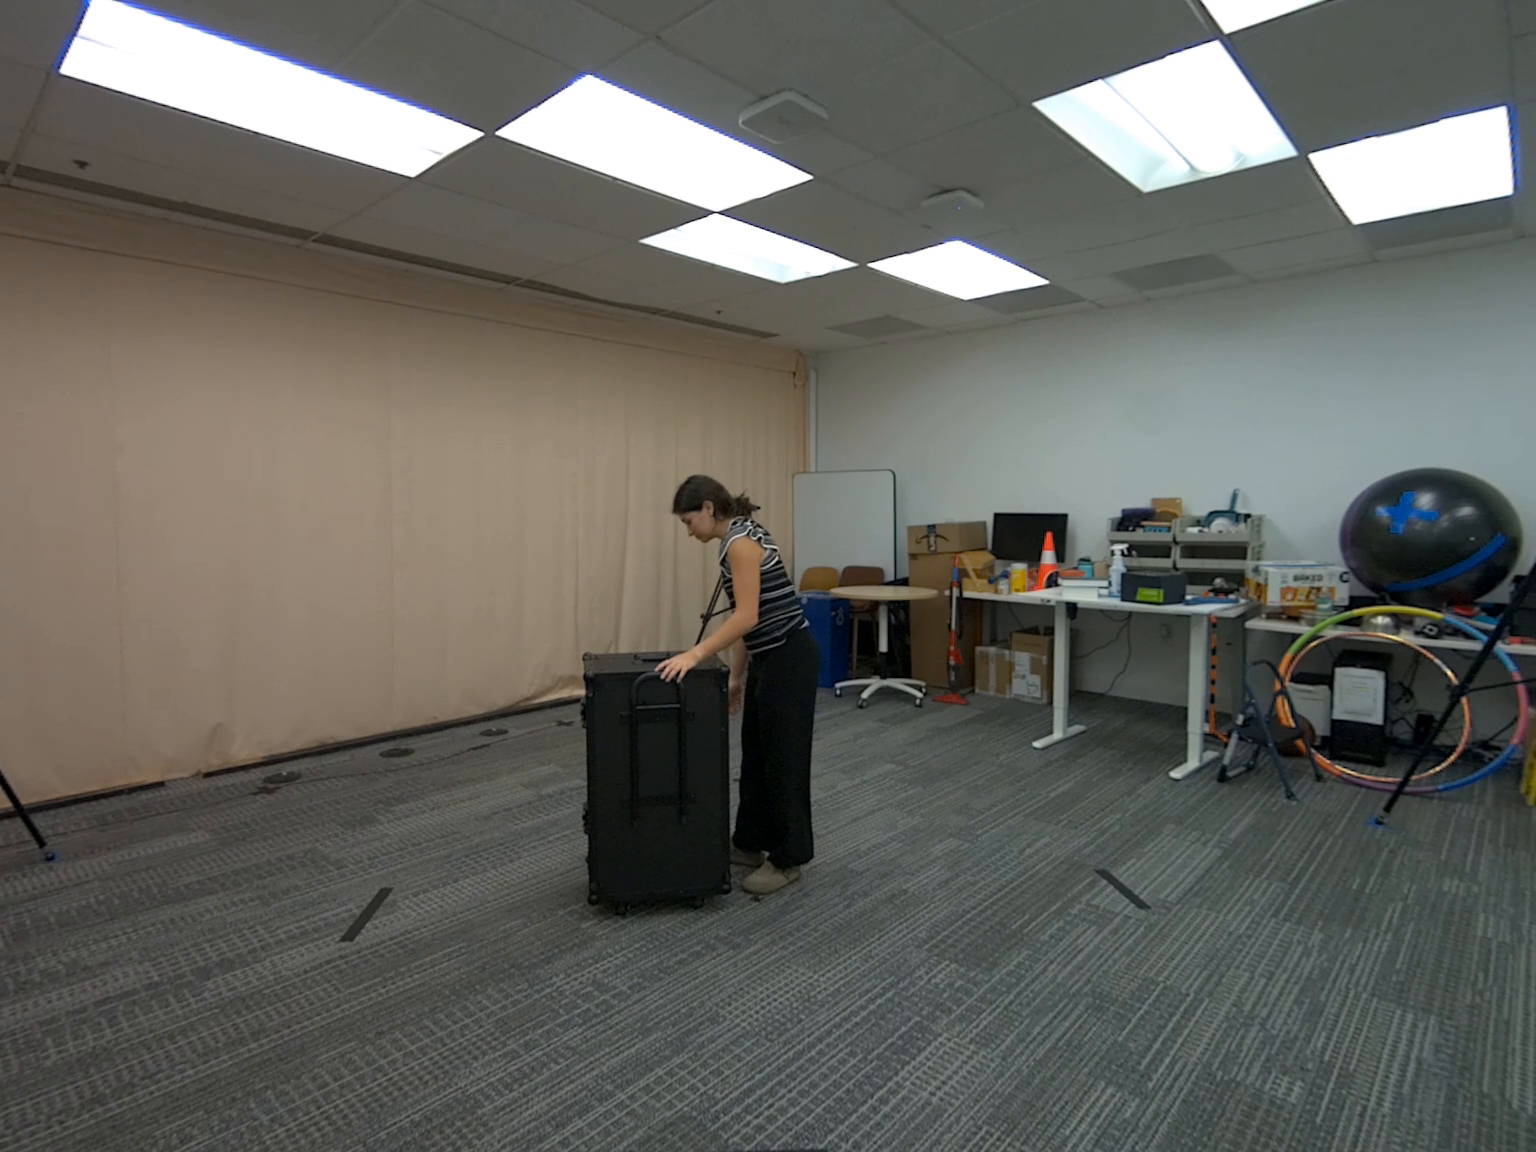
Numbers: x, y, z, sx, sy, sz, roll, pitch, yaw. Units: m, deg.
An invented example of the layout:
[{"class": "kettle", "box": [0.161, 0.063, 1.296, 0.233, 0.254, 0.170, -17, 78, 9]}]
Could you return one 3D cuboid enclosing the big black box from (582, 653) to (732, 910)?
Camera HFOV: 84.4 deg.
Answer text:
[{"class": "big black box", "box": [-0.395, 0.725, 2.974, 0.516, 0.859, 0.401, -1, 5, -10]}]
